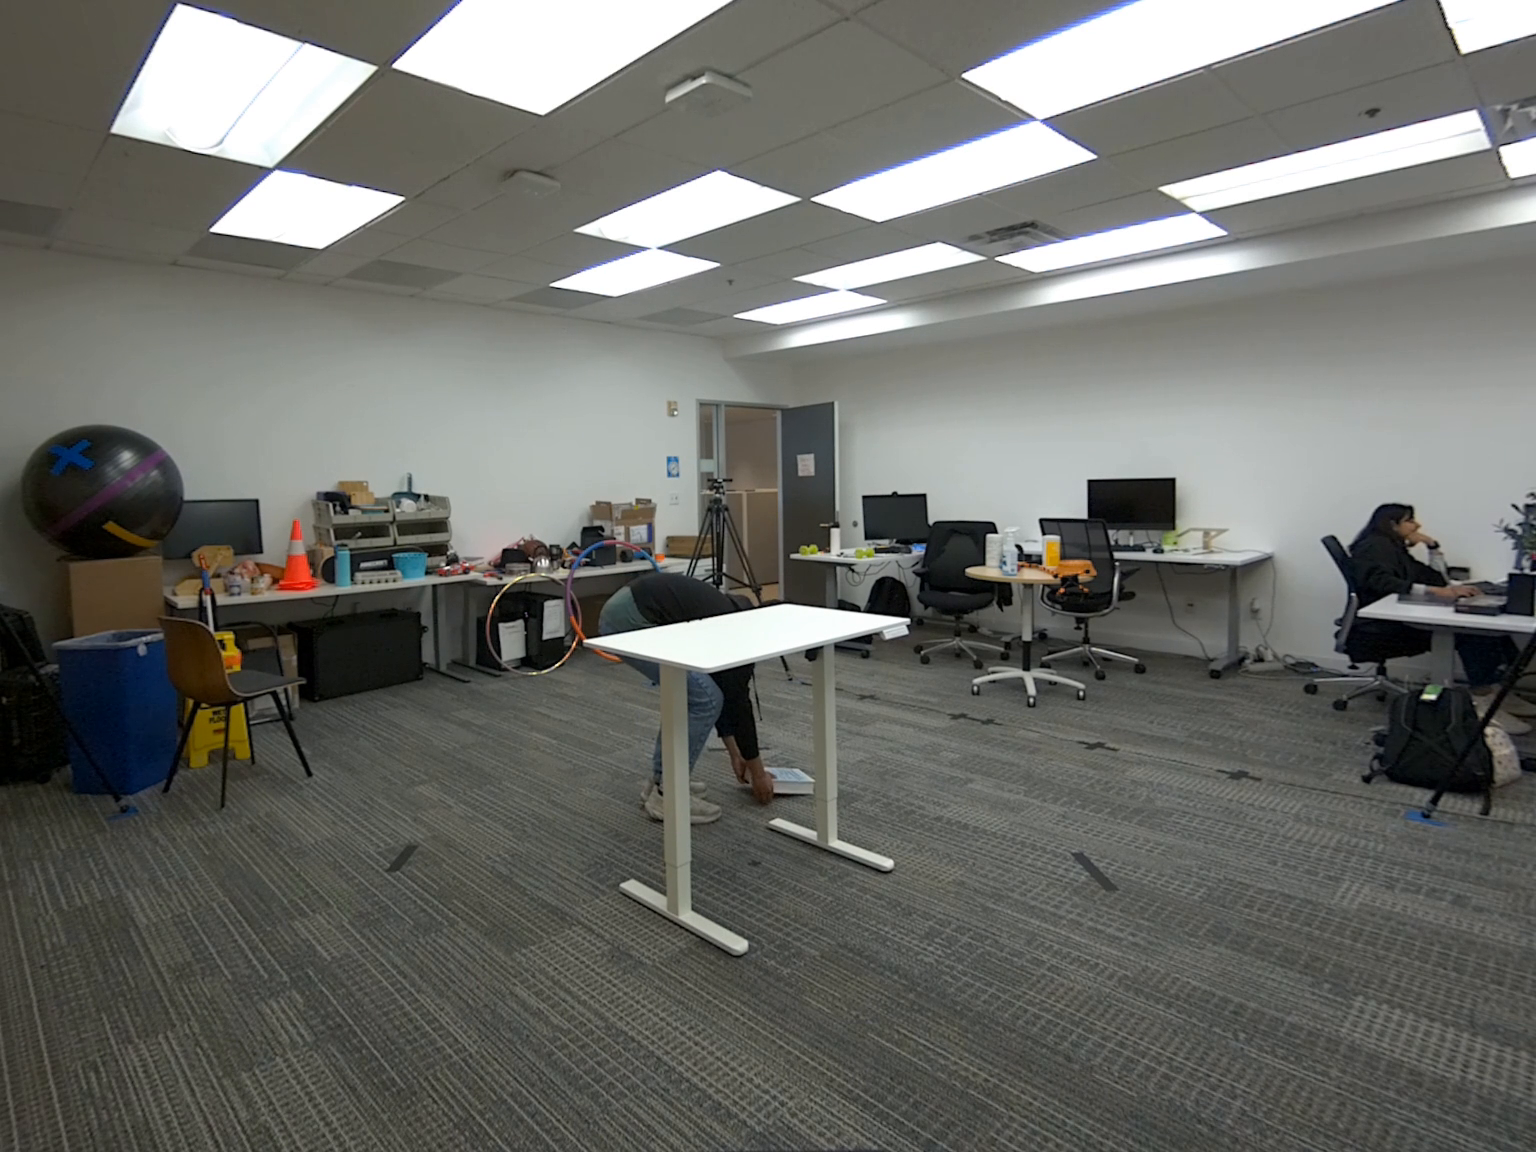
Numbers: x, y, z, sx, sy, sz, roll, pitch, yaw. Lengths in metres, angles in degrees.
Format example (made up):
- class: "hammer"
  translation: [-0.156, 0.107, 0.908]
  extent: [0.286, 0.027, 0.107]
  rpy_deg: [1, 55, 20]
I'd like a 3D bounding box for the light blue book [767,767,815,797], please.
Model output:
- class: "light blue book"
  translation: [0.051, 0.909, 3.818]
  extent: [0.255, 0.059, 0.196]
  rpy_deg: [6, 4, -22]
